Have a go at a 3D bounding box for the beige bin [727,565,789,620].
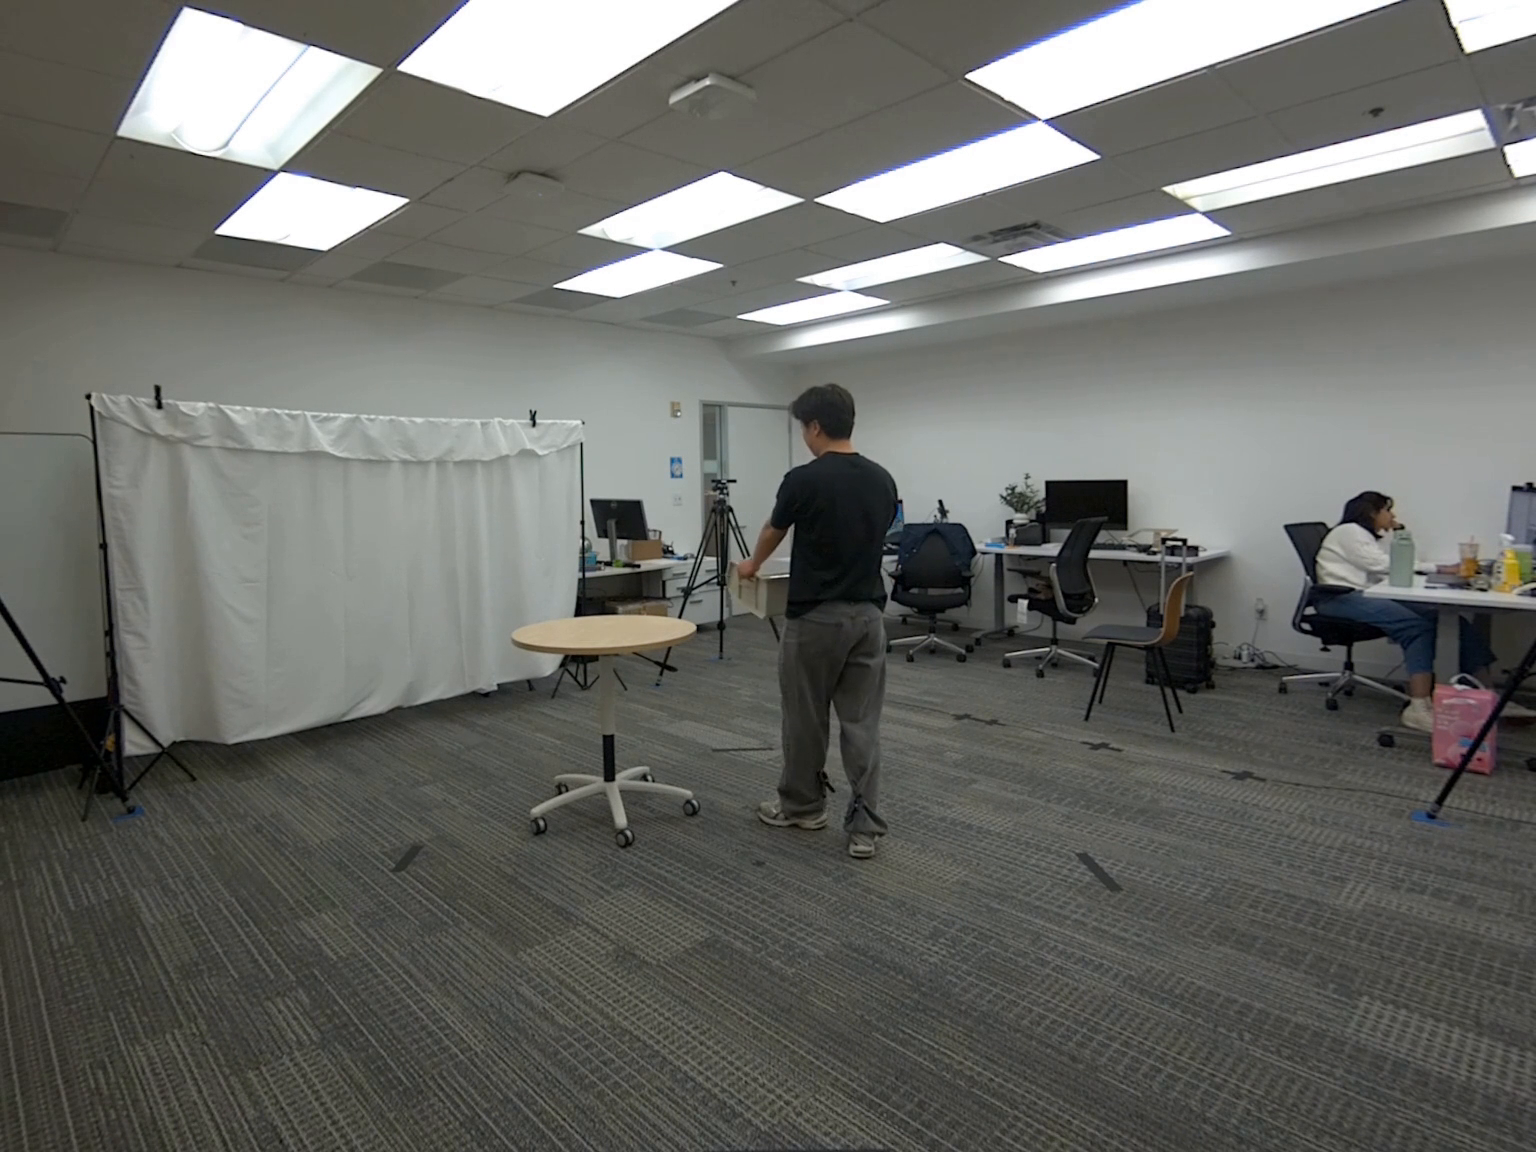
[{"bbox_3d":[0.078,0.032,3.726,0.414,0.187,0.390,-5,17,-25],"label":"beige bin"}]
